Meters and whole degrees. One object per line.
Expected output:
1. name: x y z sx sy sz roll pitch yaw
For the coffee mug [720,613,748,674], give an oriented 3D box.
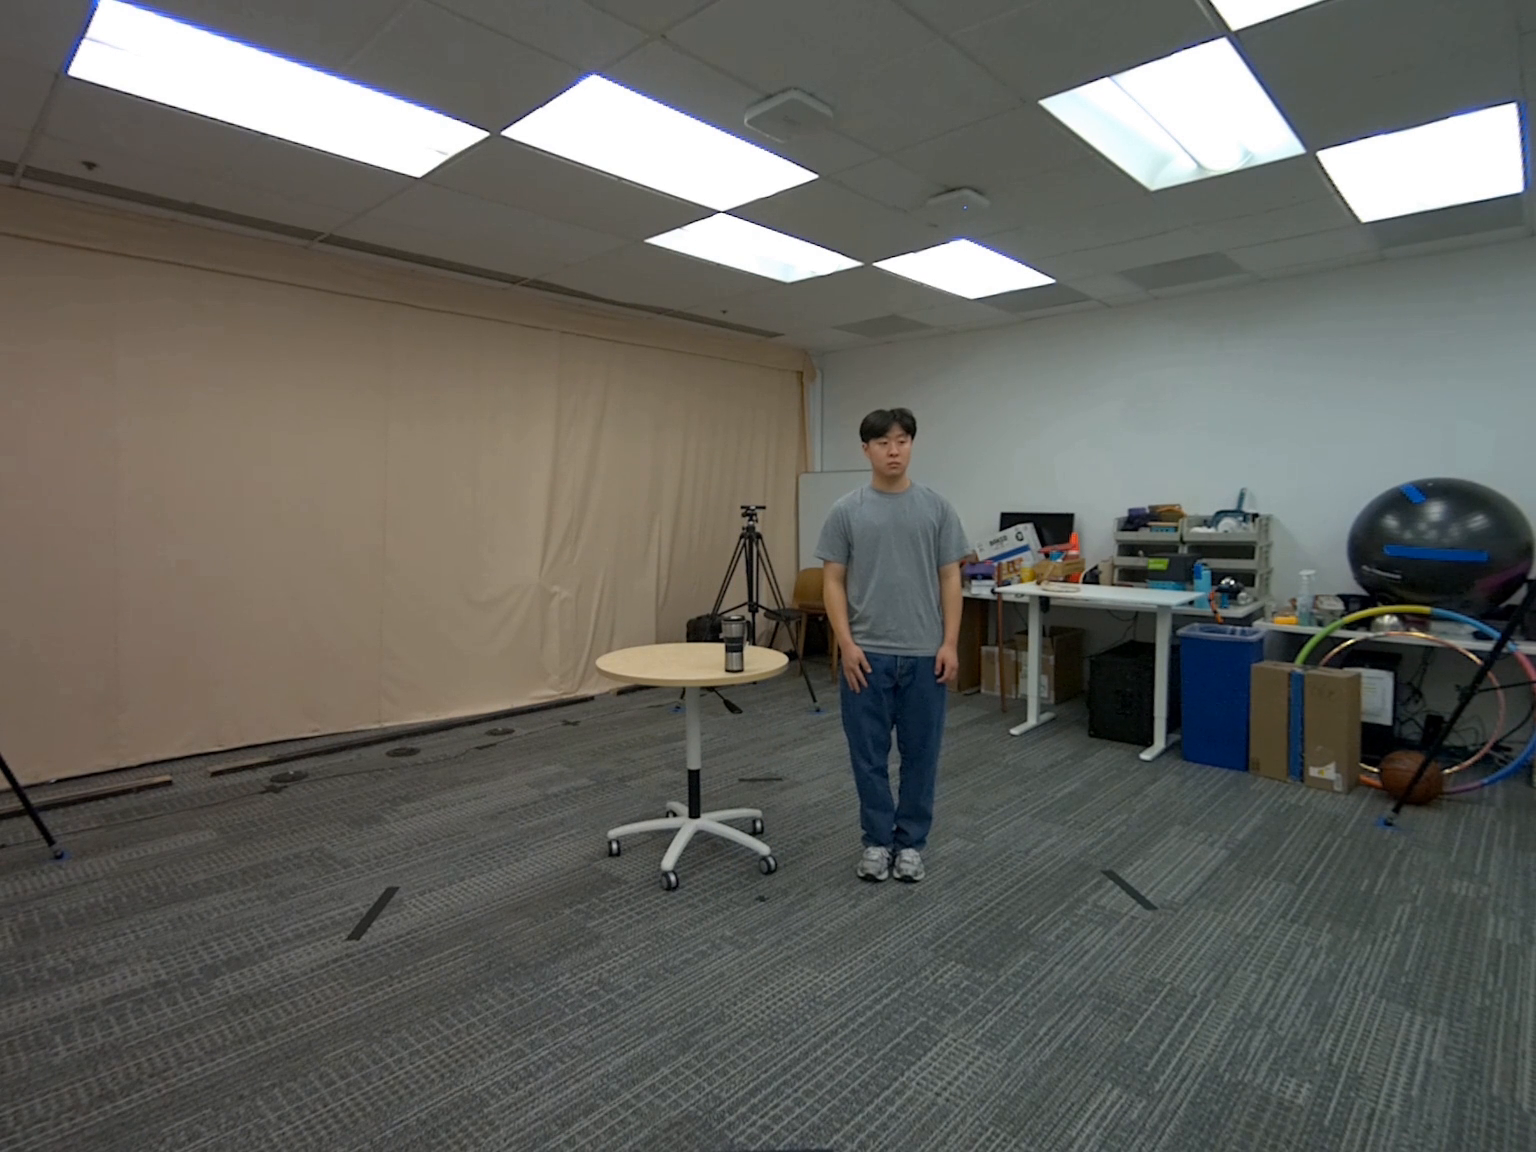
1. coffee mug: -0.100 0.254 3.117 0.119 0.203 0.090 -4 1 -26
